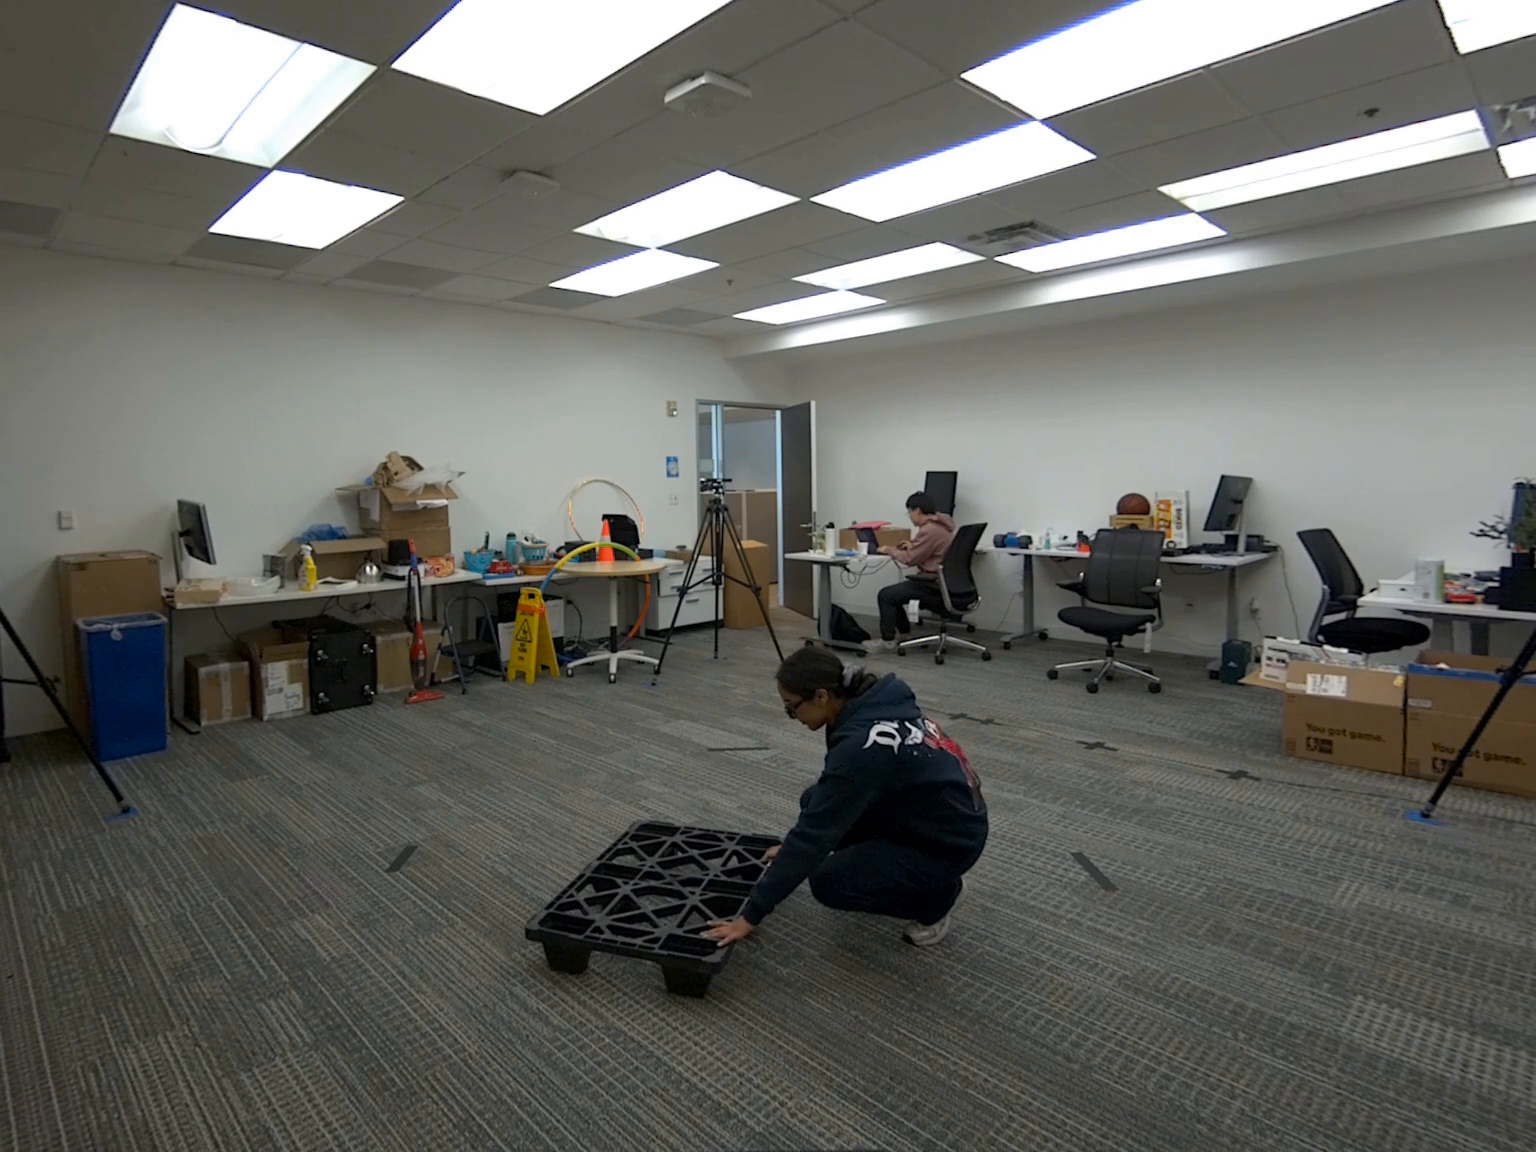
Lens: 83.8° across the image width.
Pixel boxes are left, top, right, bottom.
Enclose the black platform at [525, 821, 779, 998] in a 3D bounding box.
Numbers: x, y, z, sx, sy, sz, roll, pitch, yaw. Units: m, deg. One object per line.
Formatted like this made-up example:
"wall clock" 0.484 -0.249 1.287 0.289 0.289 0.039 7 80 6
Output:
"black platform" -0.296 1.024 2.724 0.616 0.142 0.796 2 7 17
